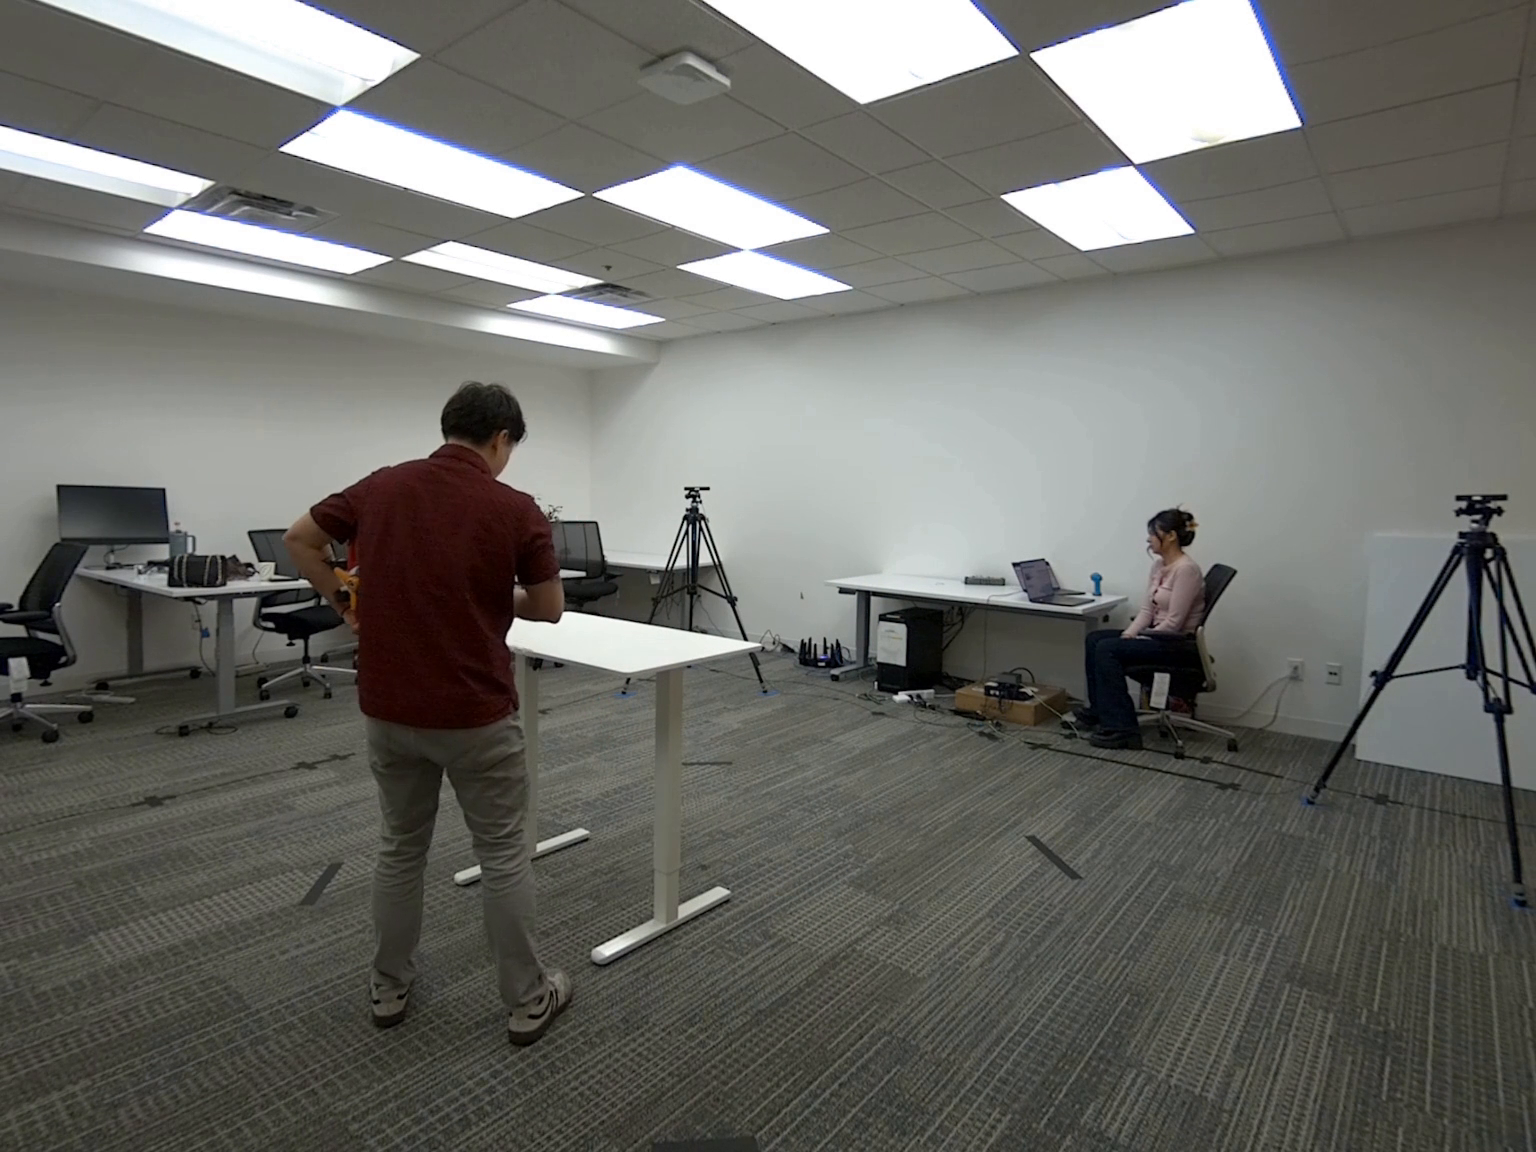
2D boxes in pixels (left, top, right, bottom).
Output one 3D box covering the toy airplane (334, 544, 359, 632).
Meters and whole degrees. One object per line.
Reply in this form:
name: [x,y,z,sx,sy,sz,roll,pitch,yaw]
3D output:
toy airplane: [-1.035,-0.016,2.272,0.161,0.243,0.259,8,37,31]
